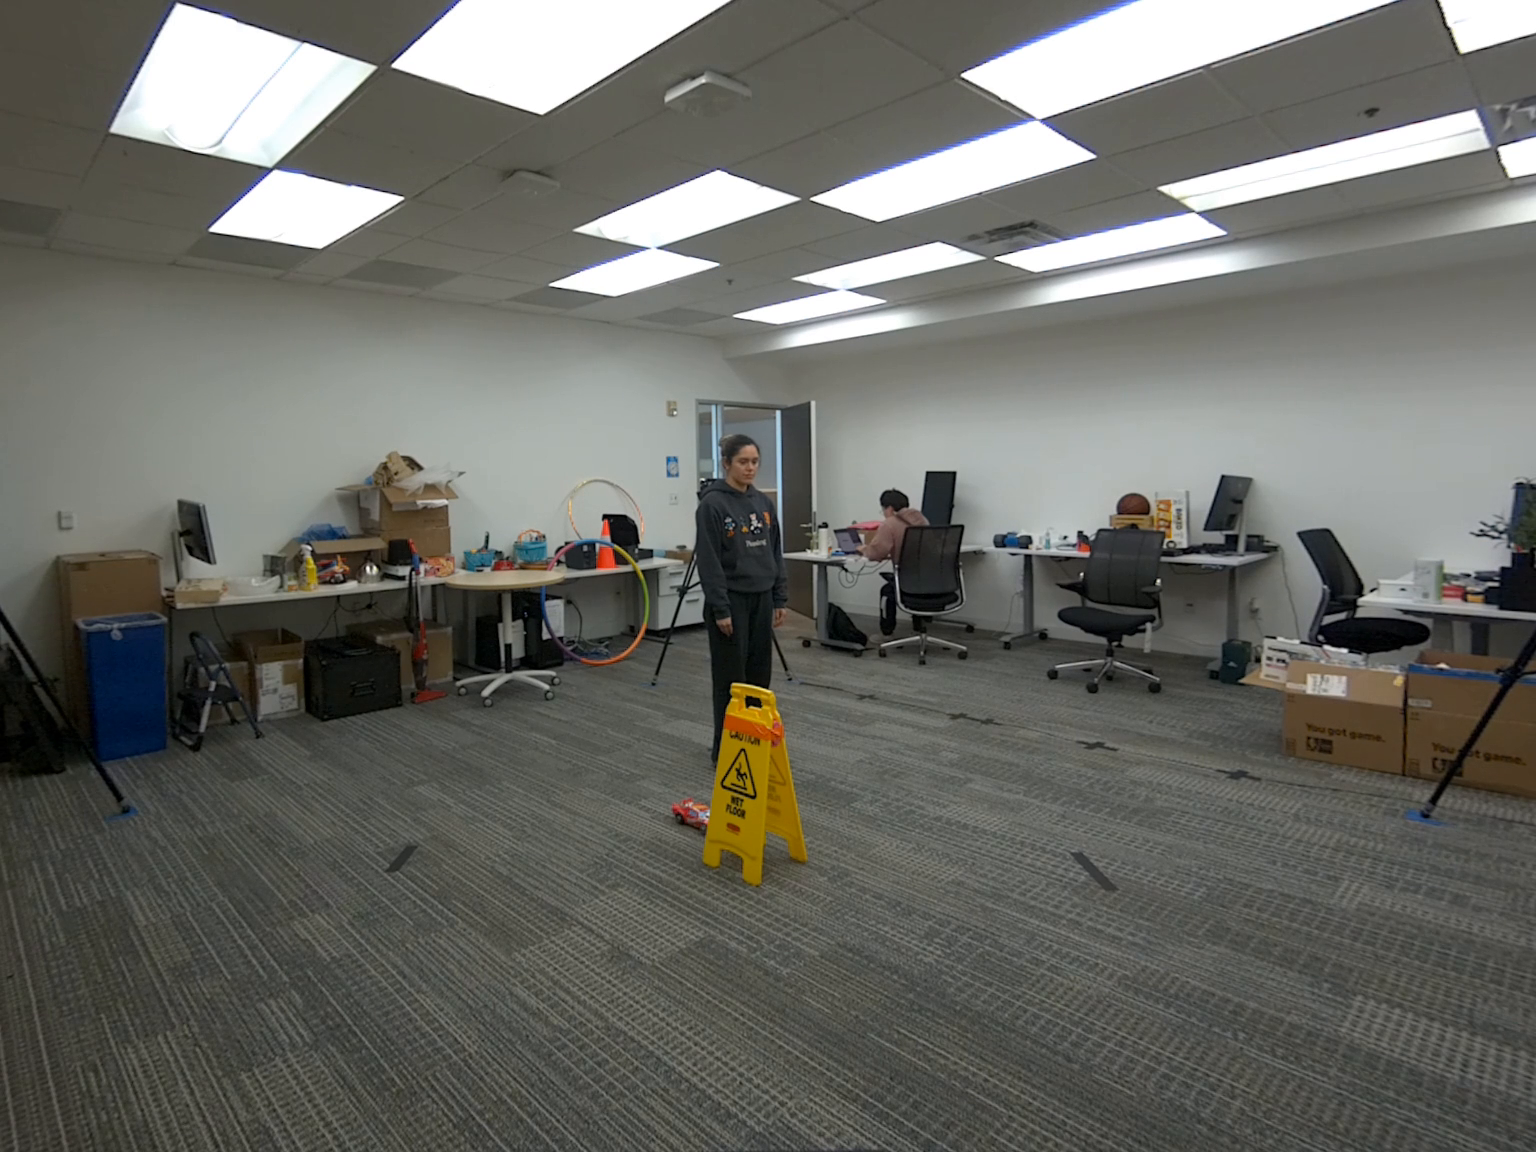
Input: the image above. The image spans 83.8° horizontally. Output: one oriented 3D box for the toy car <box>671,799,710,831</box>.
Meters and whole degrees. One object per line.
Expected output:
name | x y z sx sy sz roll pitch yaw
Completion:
toy car | -0.283 0.977 3.457 0.127 0.082 0.264 -6 18 -43
